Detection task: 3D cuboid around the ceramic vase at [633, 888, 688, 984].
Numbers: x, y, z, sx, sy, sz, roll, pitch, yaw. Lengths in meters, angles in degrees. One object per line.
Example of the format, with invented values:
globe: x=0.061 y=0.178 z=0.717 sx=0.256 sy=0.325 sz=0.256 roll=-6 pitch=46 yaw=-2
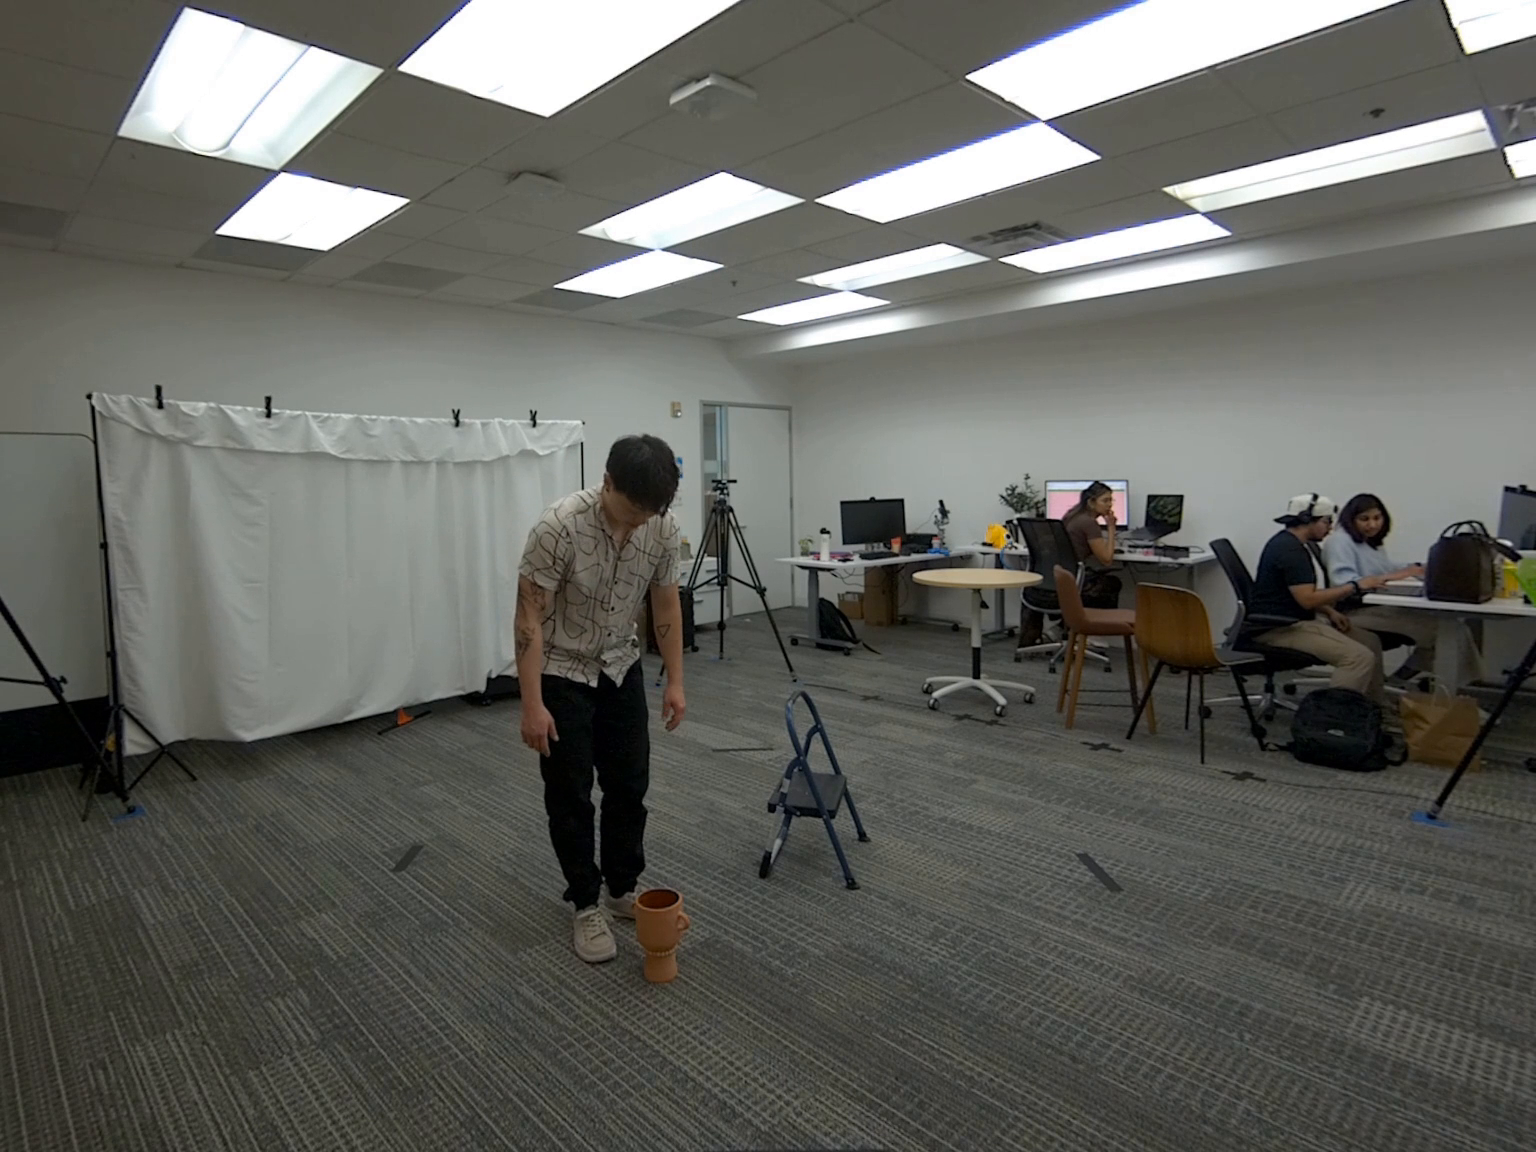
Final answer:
ceramic vase: x=-0.301 y=1.020 z=2.425 sx=0.132 sy=0.219 sz=0.163 roll=-4 pitch=5 yaw=-24
